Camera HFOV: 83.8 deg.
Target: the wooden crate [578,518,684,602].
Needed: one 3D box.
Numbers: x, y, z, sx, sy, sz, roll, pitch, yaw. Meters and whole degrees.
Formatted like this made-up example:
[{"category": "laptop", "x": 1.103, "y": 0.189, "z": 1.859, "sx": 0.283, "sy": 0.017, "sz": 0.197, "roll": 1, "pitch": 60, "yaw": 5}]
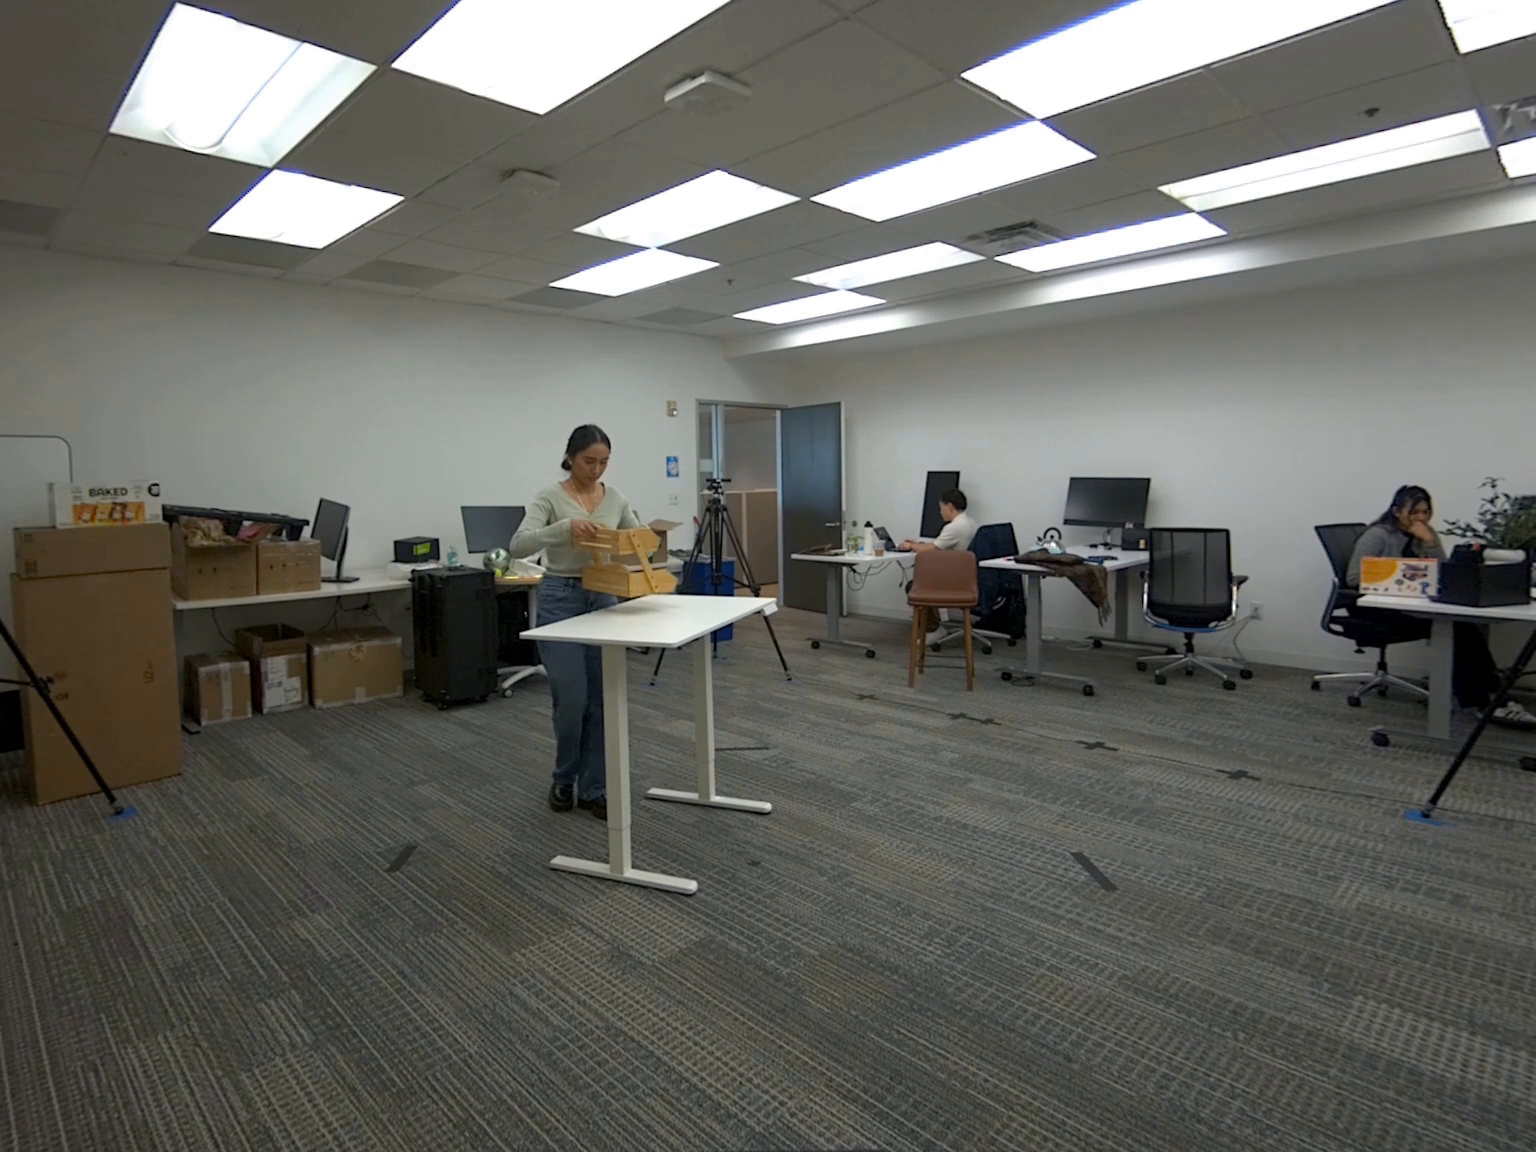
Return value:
[{"category": "wooden crate", "x": -0.562, "y": -0.078, "z": 3.410, "sx": 0.335, "sy": 0.271, "sz": 0.295, "roll": 6, "pitch": 11, "yaw": 43}]
